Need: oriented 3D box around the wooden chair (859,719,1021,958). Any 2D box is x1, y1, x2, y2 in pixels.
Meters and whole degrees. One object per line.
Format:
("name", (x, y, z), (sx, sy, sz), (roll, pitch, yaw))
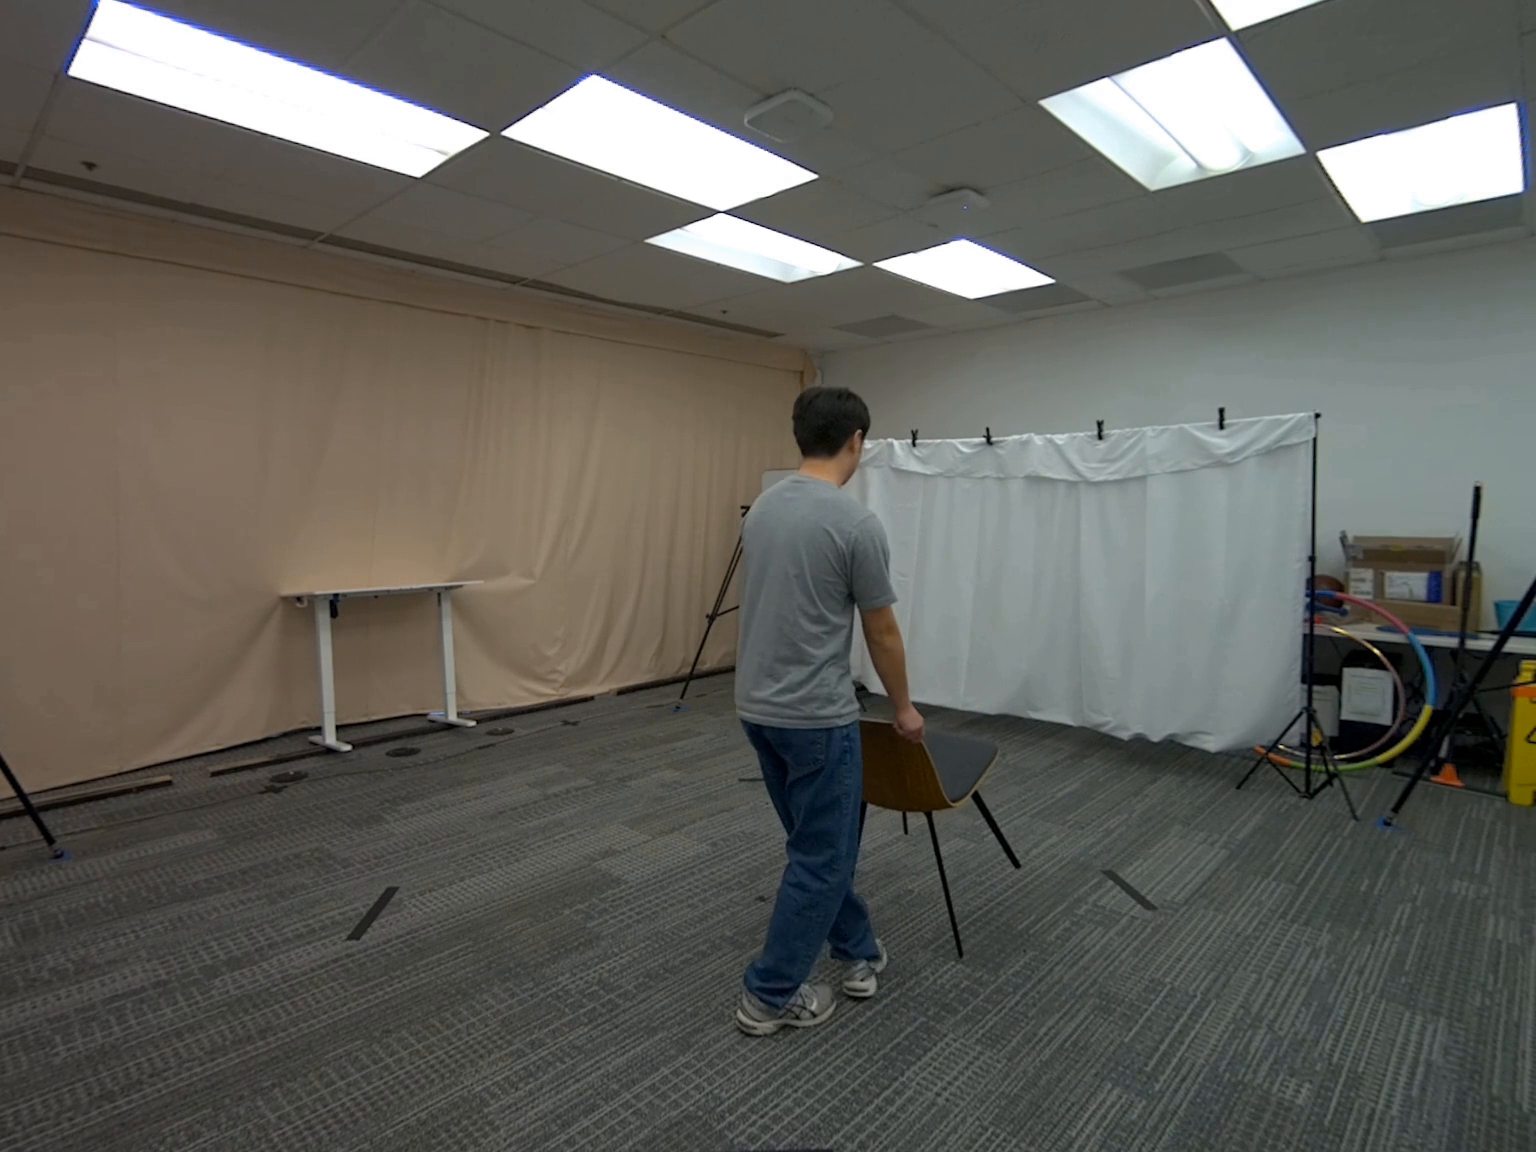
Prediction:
("wooden chair", (0.477, 0.681, 2.773), (0.494, 0.862, 0.515), (2, 27, 42))
